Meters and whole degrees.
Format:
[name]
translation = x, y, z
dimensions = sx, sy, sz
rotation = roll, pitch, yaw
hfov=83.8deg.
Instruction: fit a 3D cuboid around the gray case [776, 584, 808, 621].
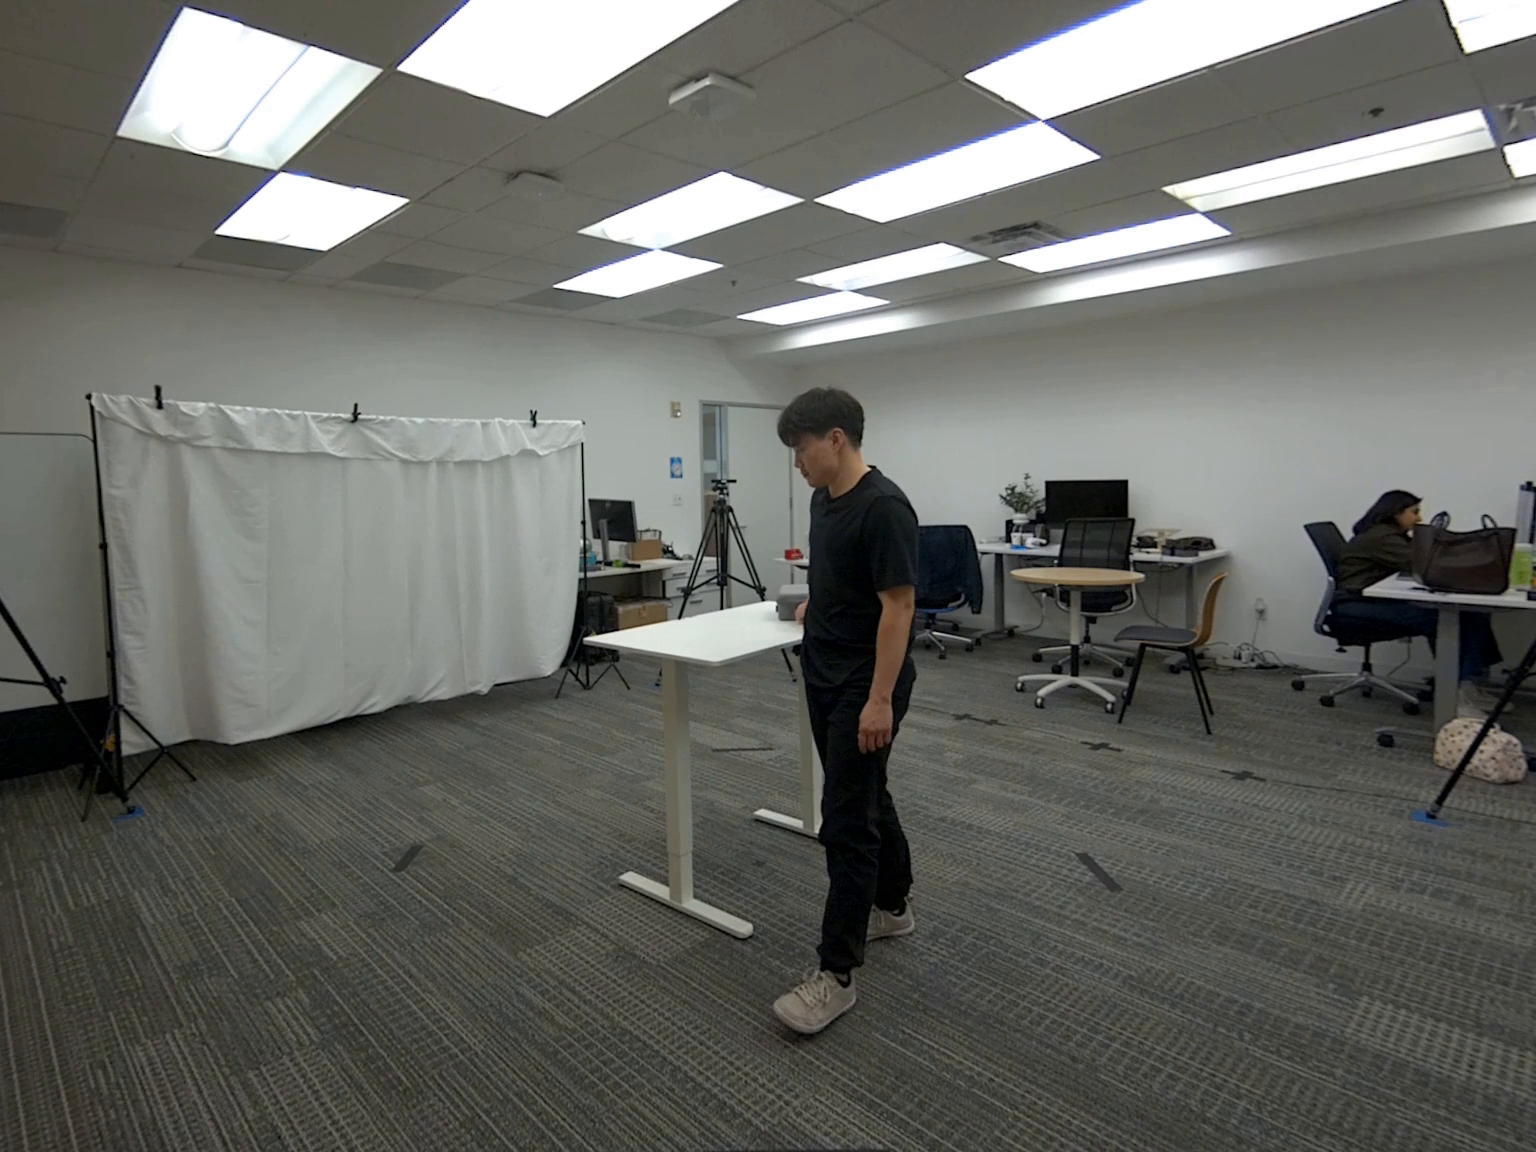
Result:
[gray case]
translation = 0.170, 0.098, 3.185
dimensions = 0.259, 0.104, 0.260
rotation = 1, 8, 7
